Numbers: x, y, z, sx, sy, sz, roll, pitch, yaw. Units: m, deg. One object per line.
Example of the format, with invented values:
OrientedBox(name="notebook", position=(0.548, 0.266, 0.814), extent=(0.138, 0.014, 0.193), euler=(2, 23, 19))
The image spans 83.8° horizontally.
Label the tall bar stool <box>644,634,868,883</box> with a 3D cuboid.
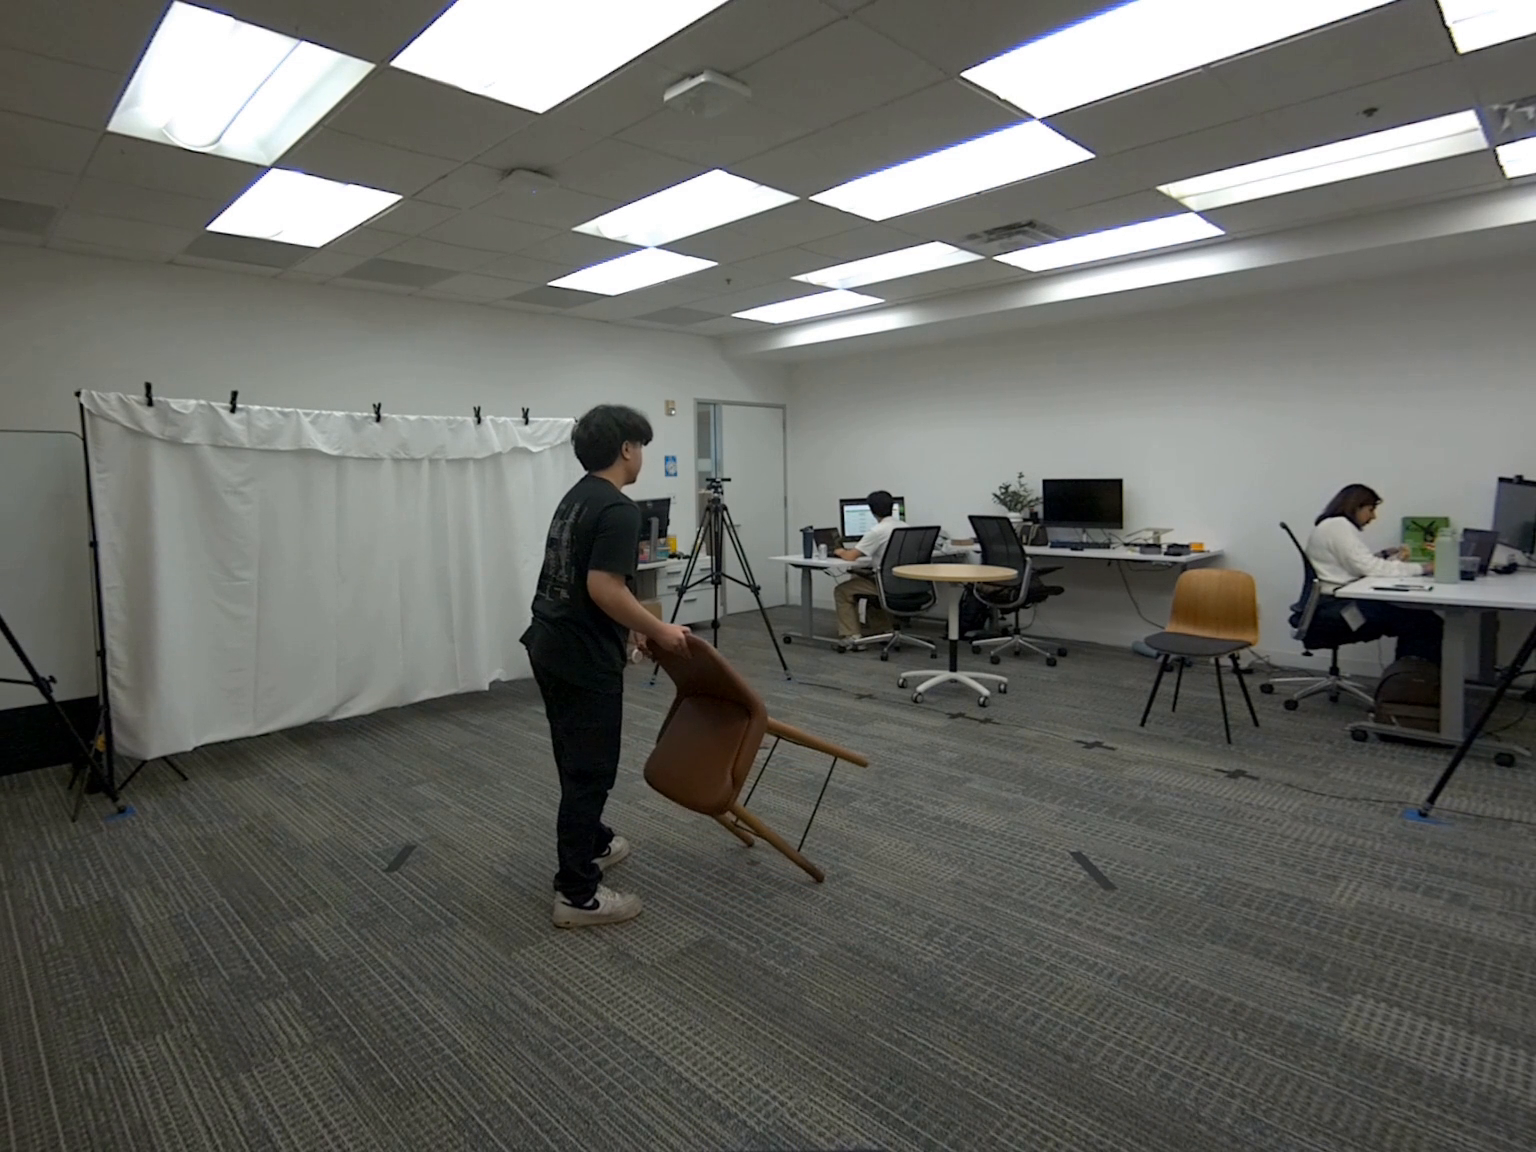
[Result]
OrientedBox(name="tall bar stool", position=(-0.112, 0.617, 2.949), extent=(0.471, 0.470, 0.858), euler=(6, -30, 50))
